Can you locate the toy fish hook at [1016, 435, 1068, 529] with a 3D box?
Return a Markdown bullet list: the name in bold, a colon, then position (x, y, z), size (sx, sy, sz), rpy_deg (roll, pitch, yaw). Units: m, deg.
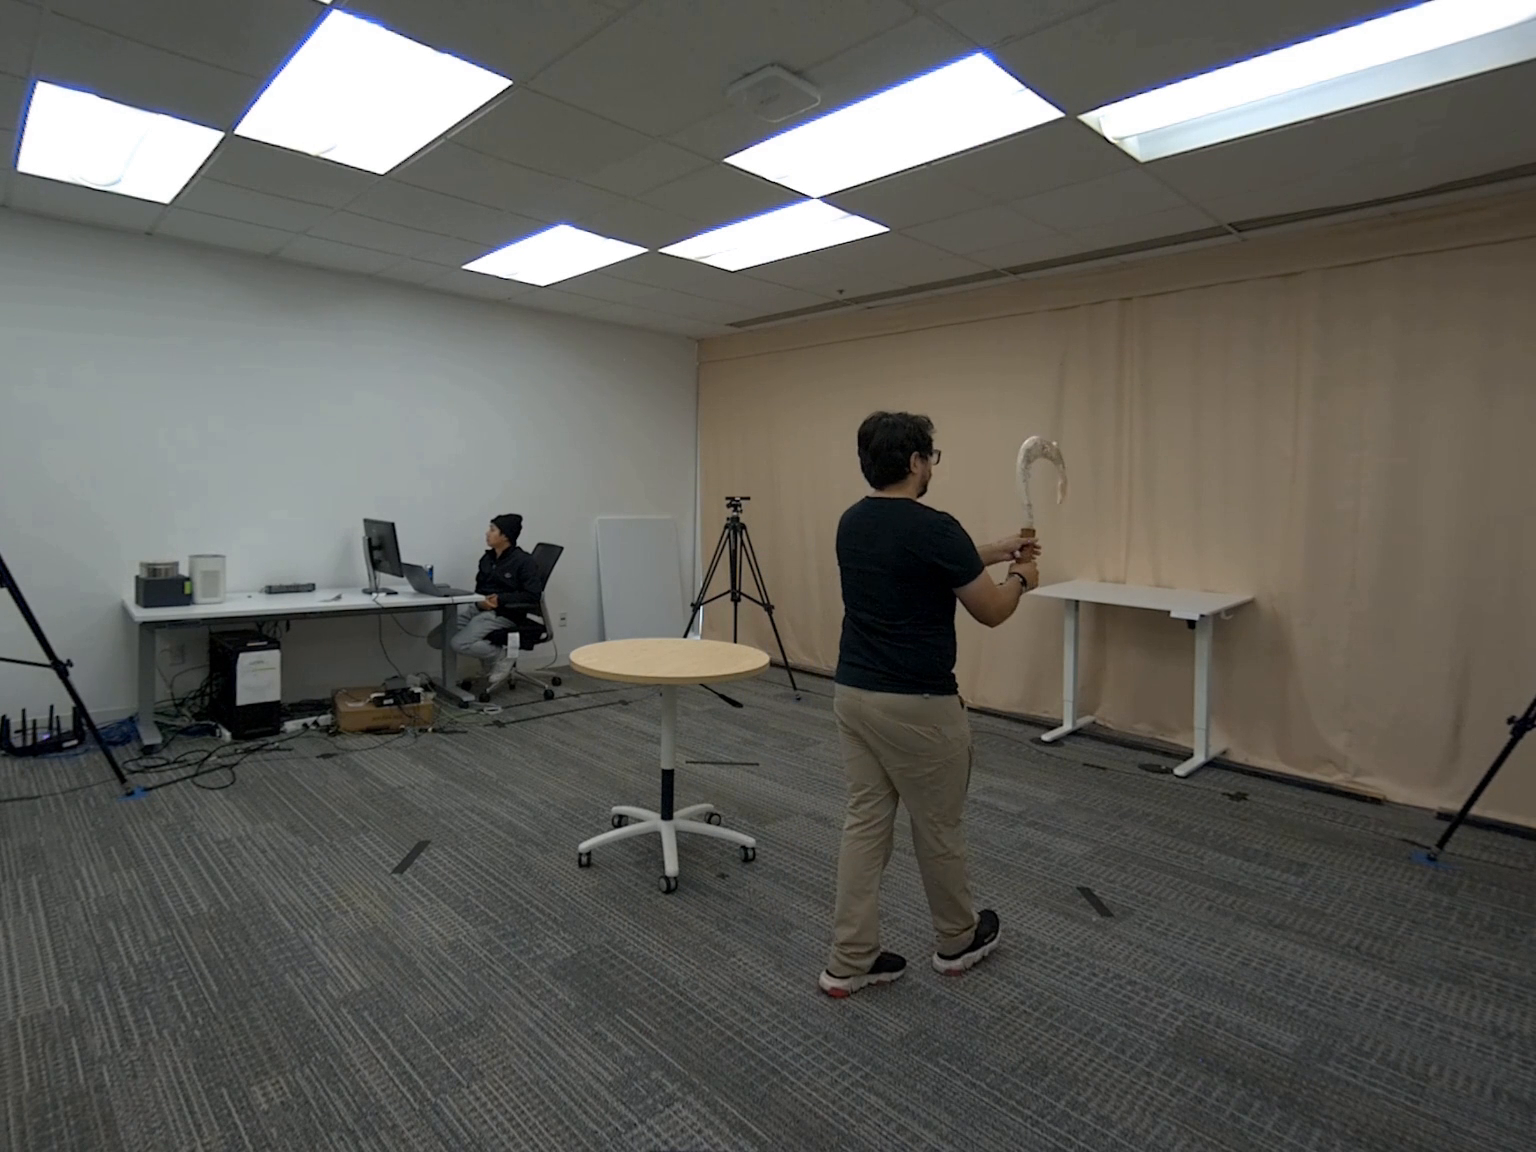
- **toy fish hook**: position (0.851, -0.188, 2.639), size (0.219, 0.509, 0.049), rpy_deg (14, -11, -27)
